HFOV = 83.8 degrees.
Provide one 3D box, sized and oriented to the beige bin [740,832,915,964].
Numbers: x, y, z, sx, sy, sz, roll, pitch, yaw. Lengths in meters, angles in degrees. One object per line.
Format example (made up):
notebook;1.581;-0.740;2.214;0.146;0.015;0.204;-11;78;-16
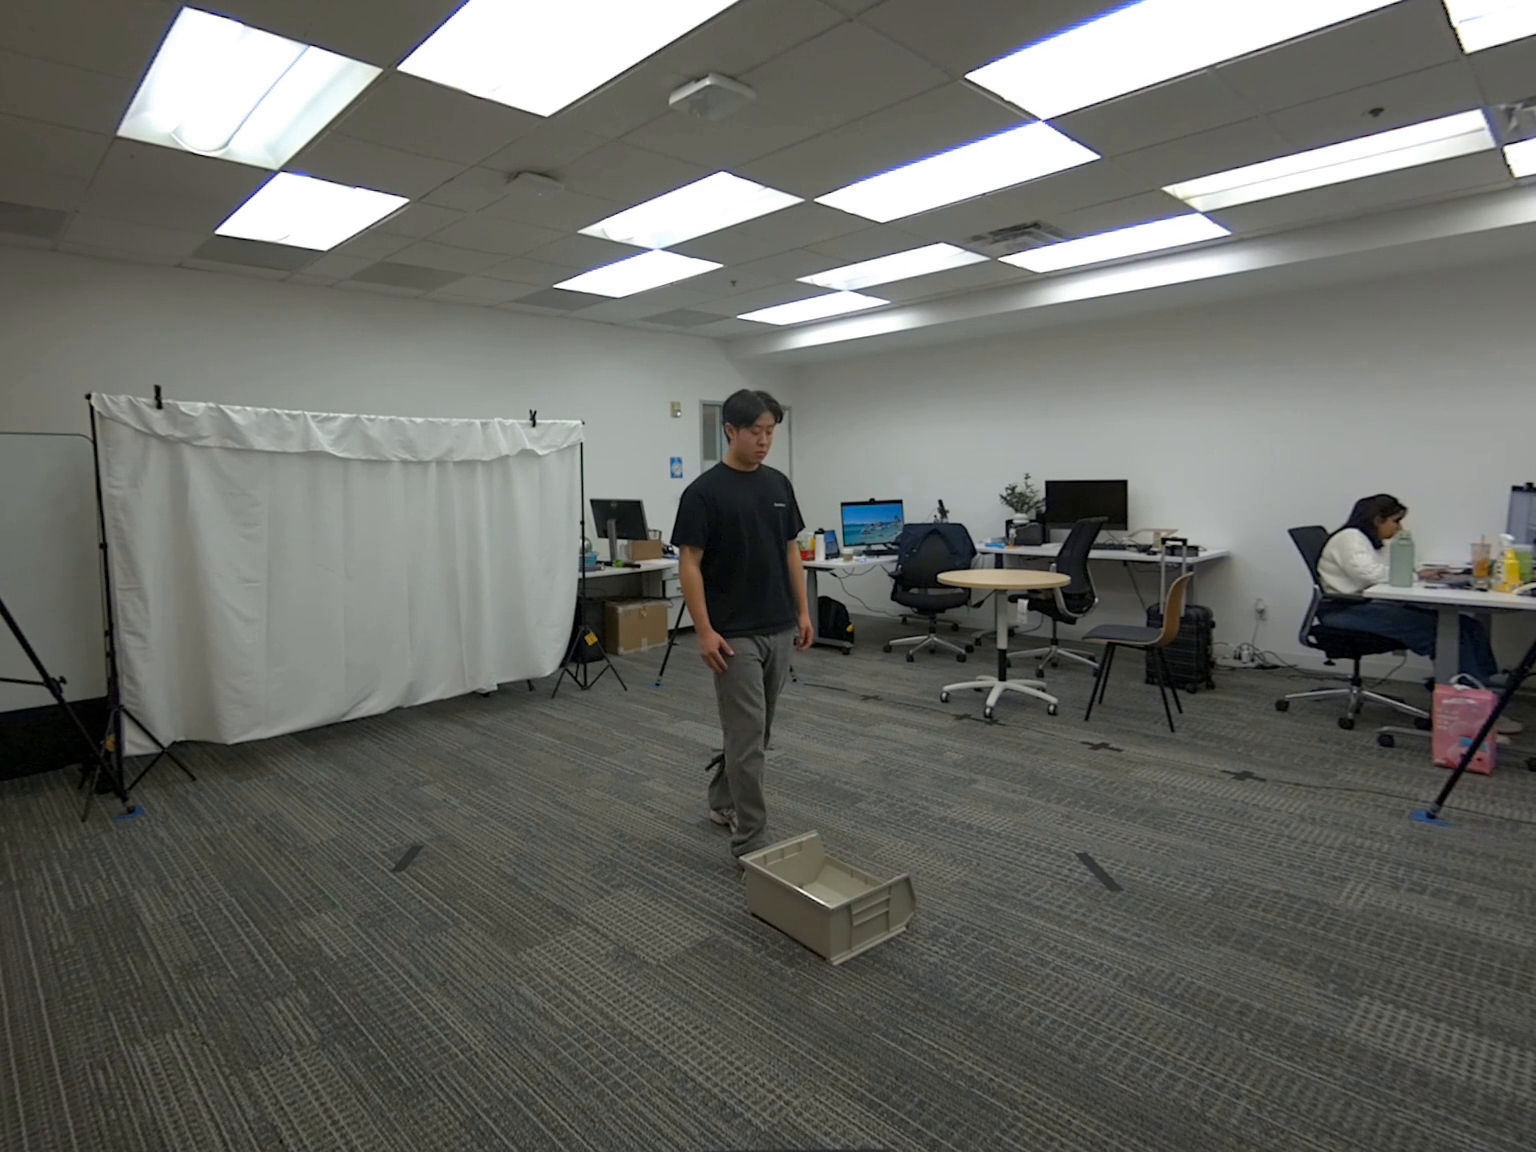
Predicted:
beige bin;0.192;1.000;2.706;0.368;0.188;0.435;-7;9;-38
